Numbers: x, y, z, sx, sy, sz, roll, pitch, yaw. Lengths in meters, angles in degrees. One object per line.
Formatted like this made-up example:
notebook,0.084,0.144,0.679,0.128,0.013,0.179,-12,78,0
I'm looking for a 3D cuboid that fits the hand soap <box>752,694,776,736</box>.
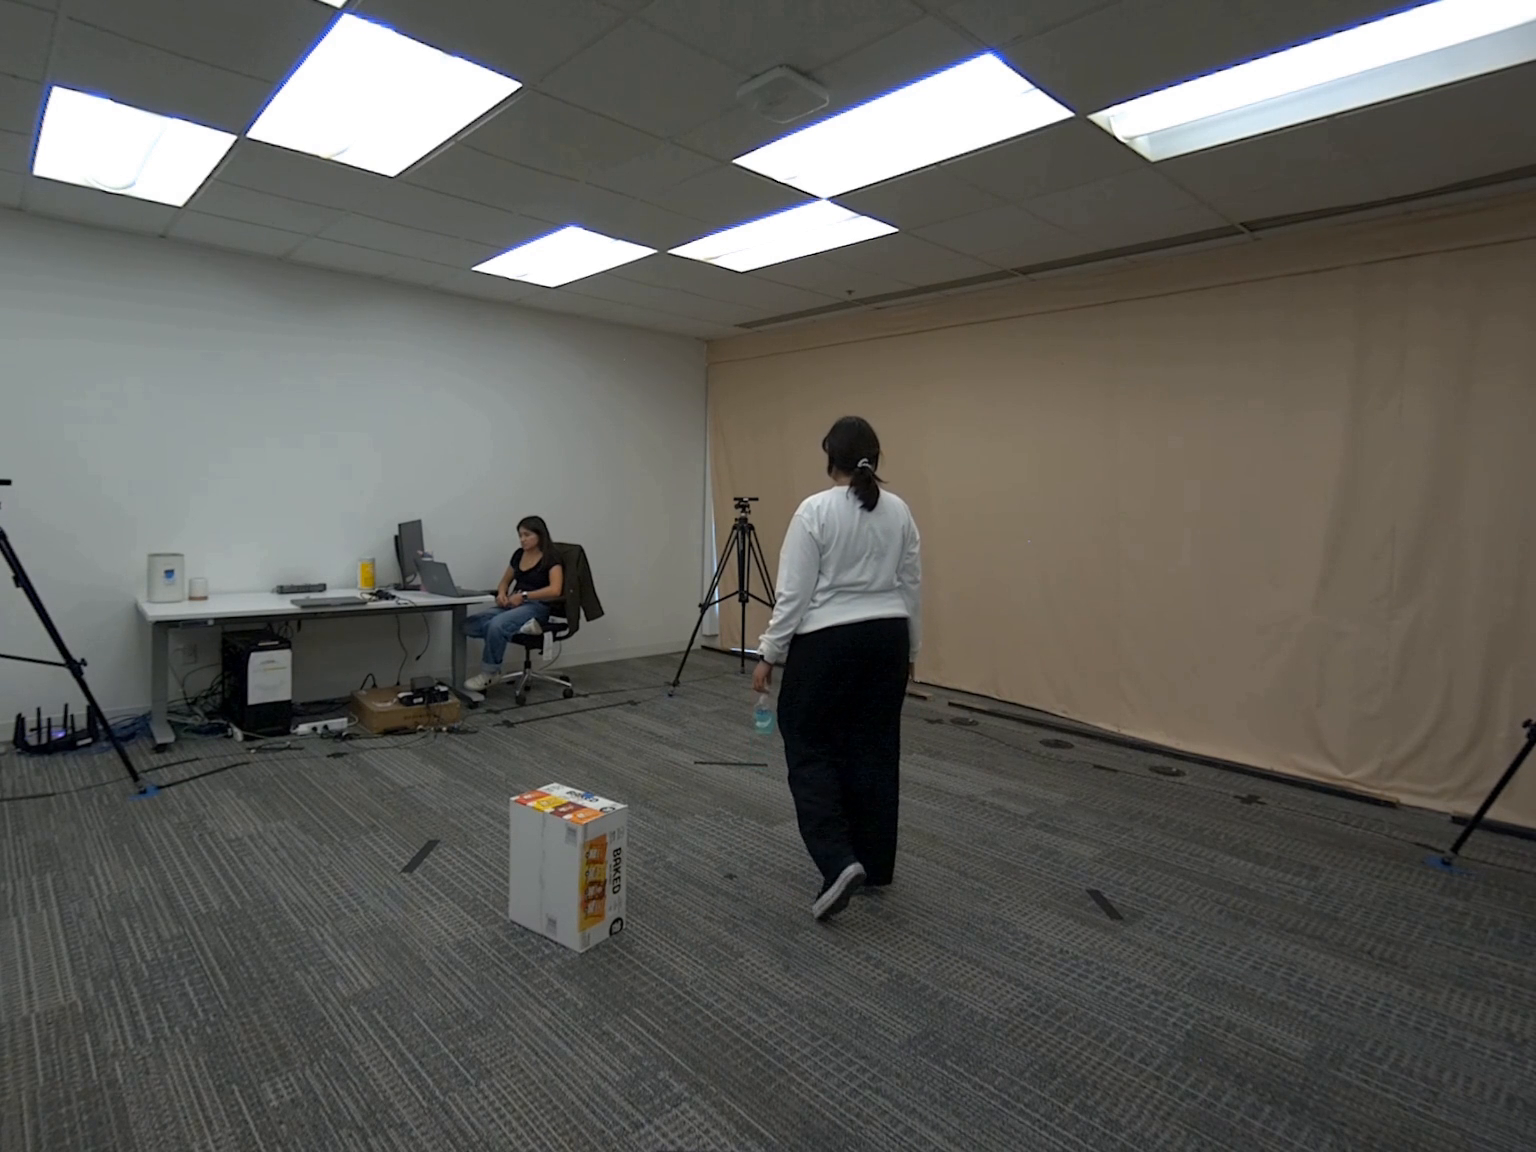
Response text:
hand soap,-0.018,0.488,3.041,0.085,0.167,0.043,1,5,10
